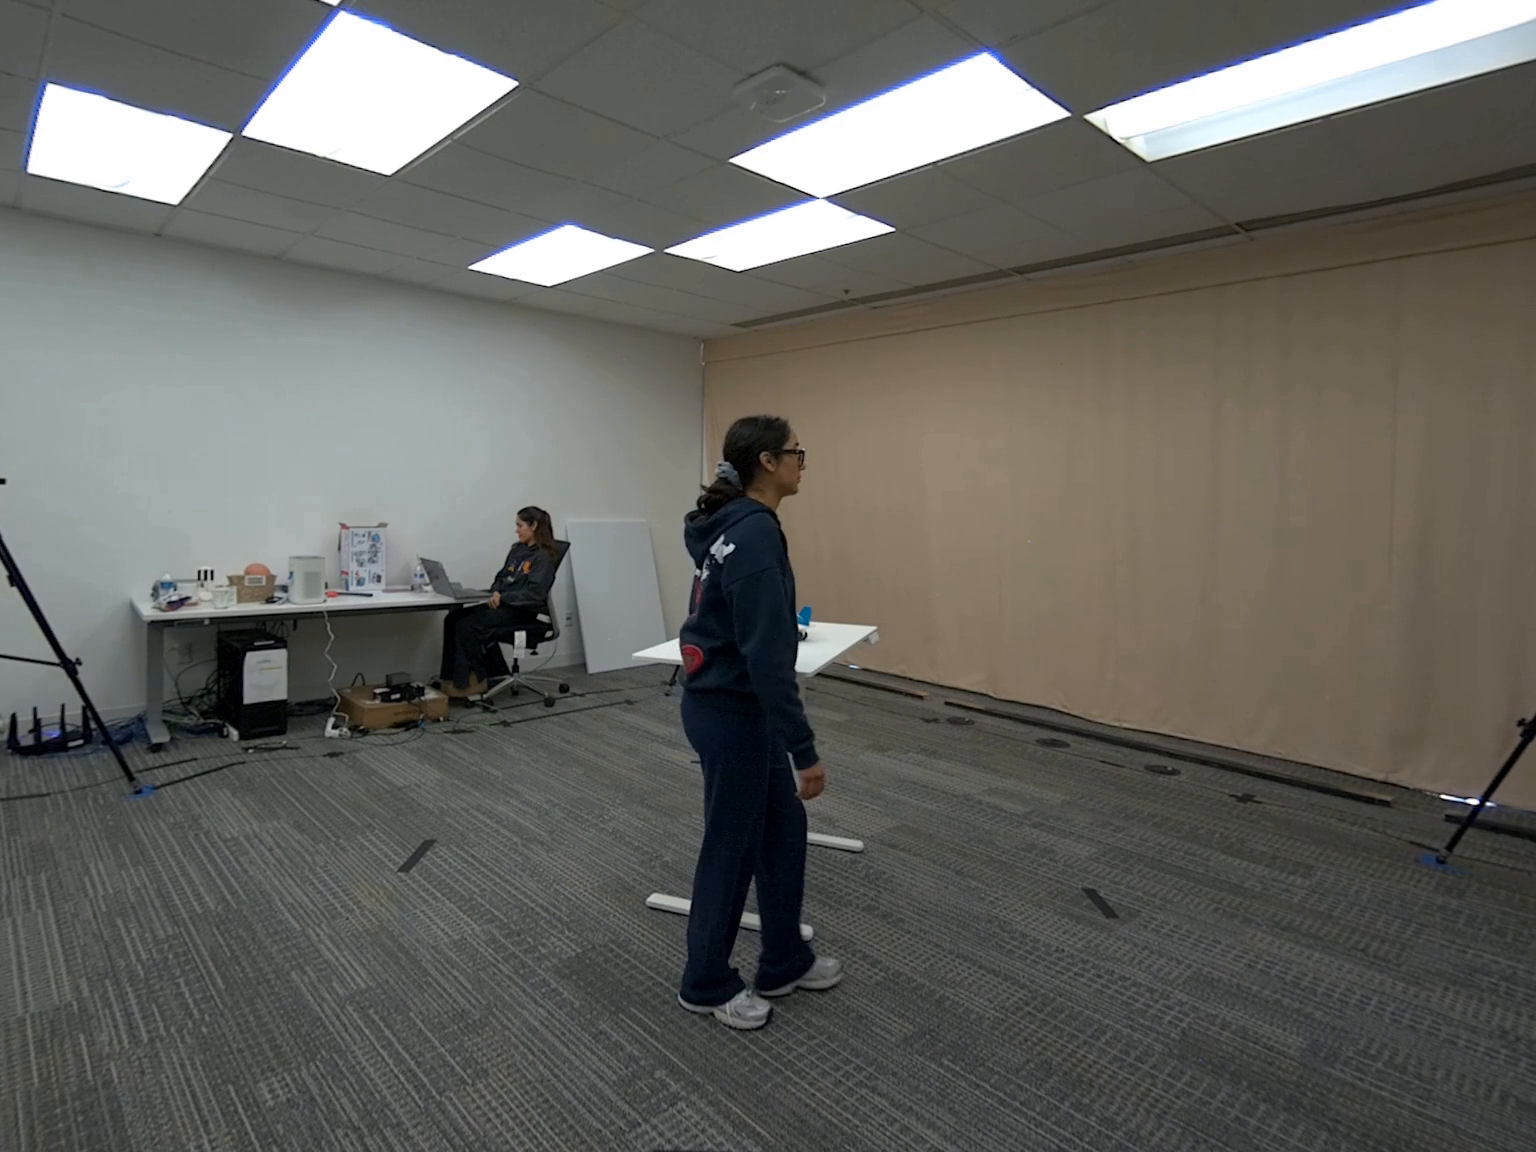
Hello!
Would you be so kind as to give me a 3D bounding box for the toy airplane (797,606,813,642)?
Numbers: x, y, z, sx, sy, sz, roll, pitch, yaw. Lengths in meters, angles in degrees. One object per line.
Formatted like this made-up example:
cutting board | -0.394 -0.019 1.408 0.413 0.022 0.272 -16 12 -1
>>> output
toy airplane | 0.044 0.155 3.128 0.260 0.156 0.251 0 5 3
